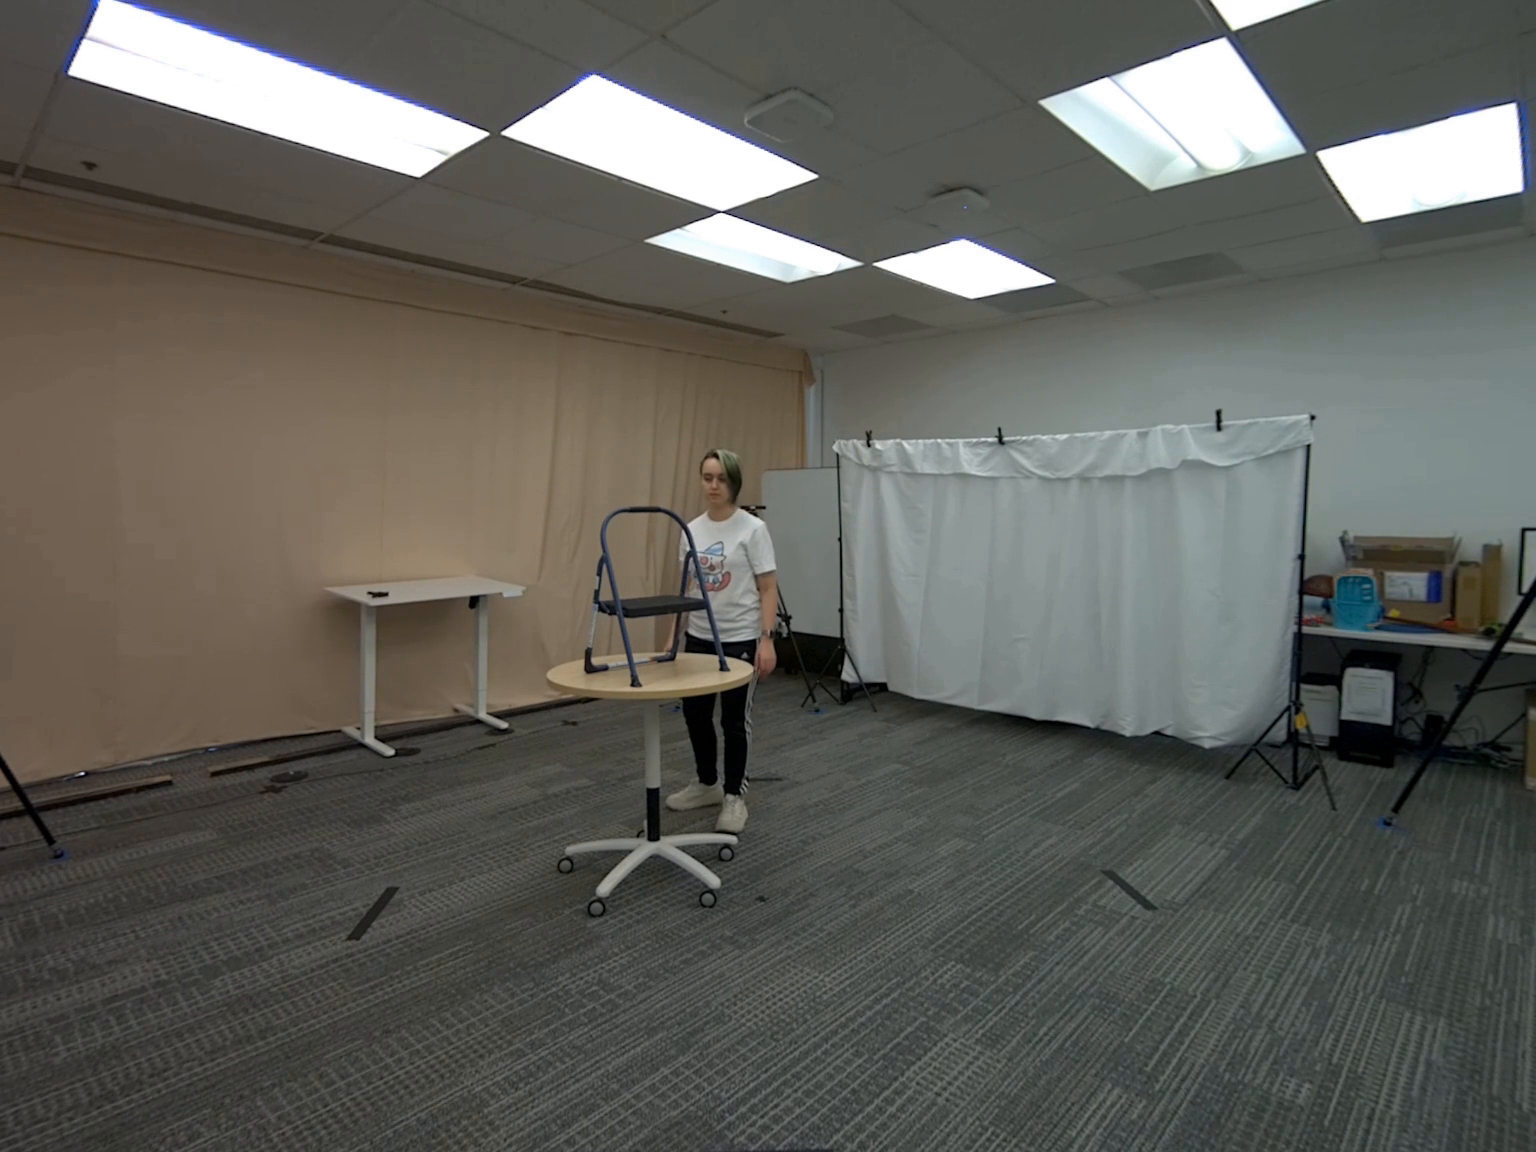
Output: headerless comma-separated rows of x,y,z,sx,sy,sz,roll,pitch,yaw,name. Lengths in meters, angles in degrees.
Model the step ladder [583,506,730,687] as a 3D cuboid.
-0.418,0.053,3.076,0.417,0.605,0.361,-3,4,-42,step ladder
